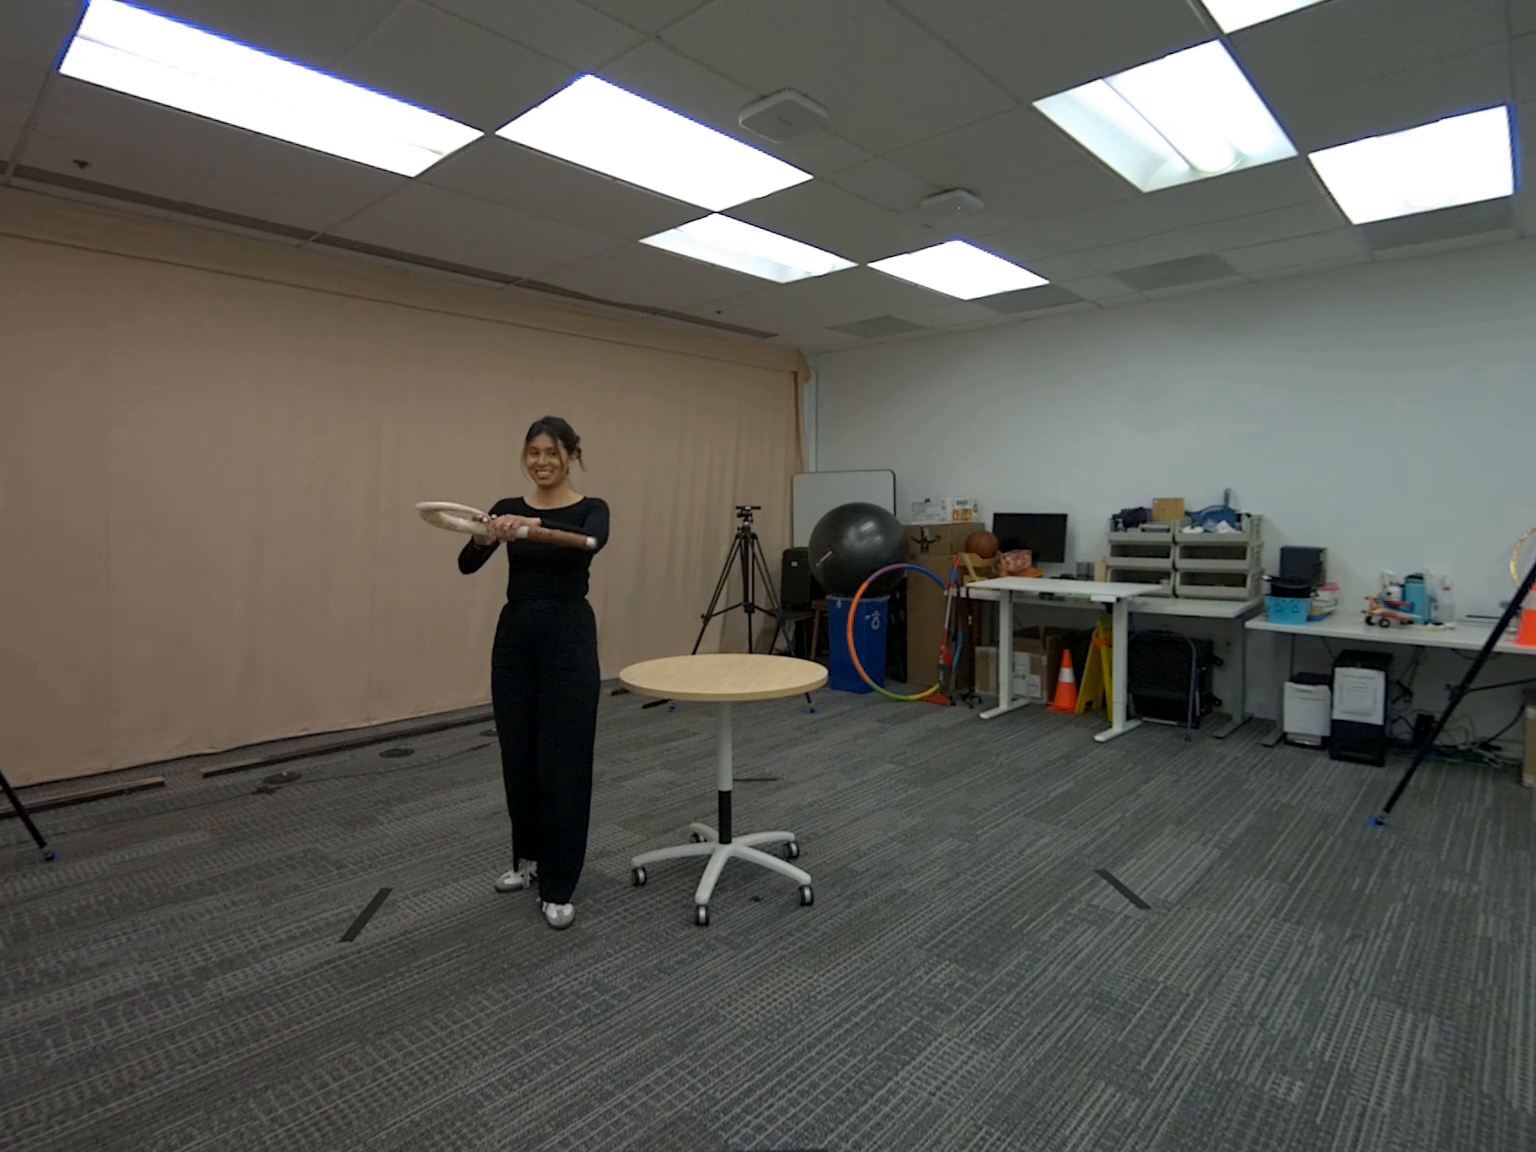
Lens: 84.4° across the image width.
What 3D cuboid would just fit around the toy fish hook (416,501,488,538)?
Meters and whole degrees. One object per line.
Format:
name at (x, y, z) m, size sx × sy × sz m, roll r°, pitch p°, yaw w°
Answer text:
toy fish hook at (-0.717, -0.140, 2.400) m, size 0.503 × 0.048 × 0.225 m, roll 11°, pitch -10°, yaw -5°
